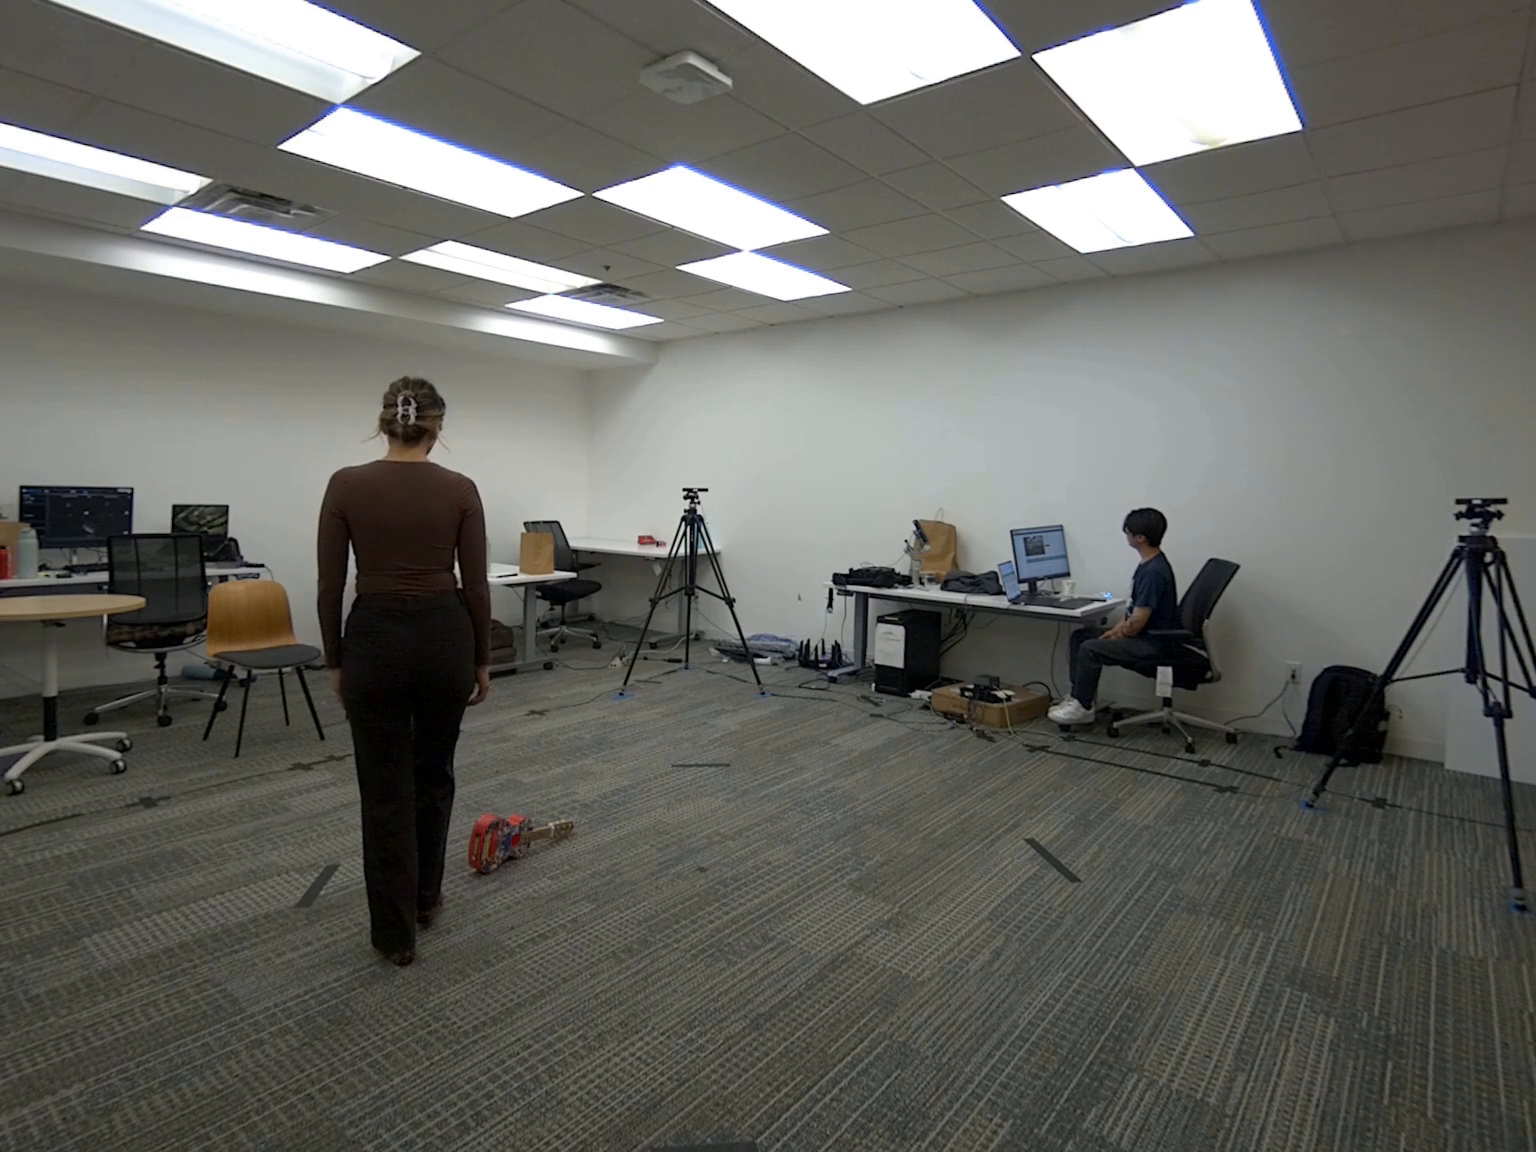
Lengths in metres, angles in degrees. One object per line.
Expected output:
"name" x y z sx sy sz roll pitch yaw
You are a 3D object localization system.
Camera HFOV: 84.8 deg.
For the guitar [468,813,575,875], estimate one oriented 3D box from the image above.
"guitar" -0.940 1.007 3.215 0.073 0.194 0.479 5 -12 29
